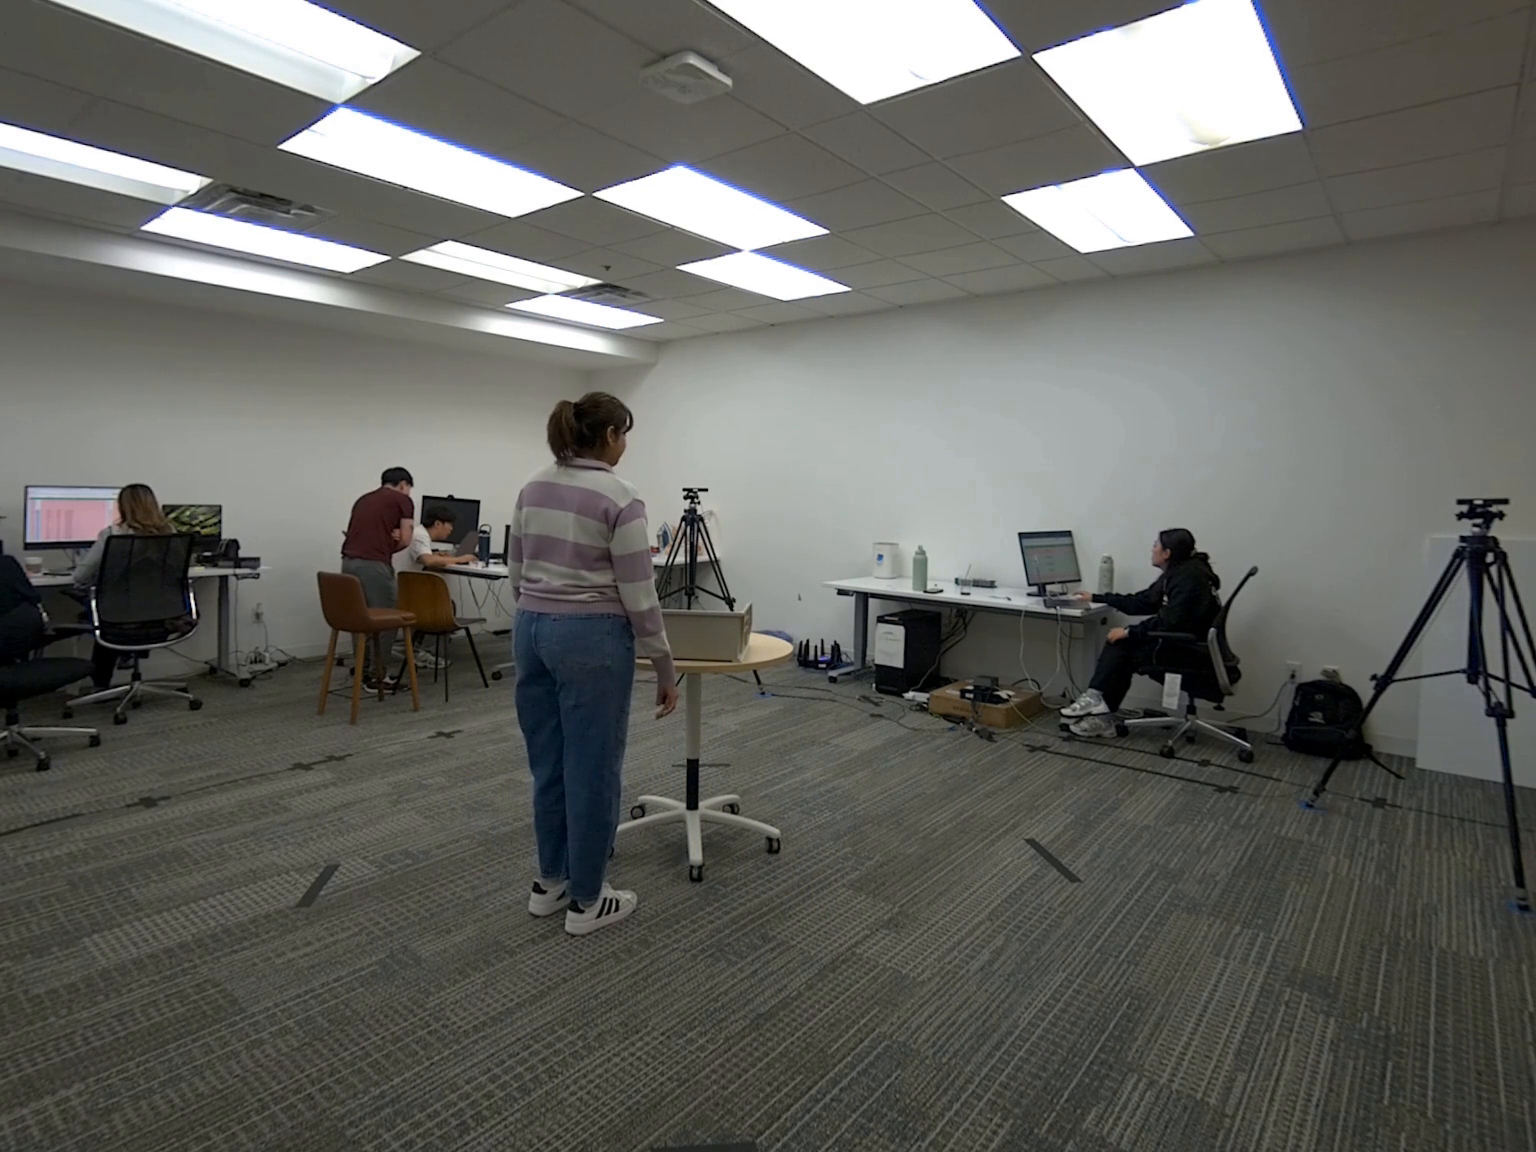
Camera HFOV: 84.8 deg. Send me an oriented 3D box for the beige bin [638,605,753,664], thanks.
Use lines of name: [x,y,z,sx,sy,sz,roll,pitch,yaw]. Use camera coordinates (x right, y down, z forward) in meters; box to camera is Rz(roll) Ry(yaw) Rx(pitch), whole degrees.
beige bin: [-0.296,0.192,3.183,0.426,0.188,0.376,1,7,7]
